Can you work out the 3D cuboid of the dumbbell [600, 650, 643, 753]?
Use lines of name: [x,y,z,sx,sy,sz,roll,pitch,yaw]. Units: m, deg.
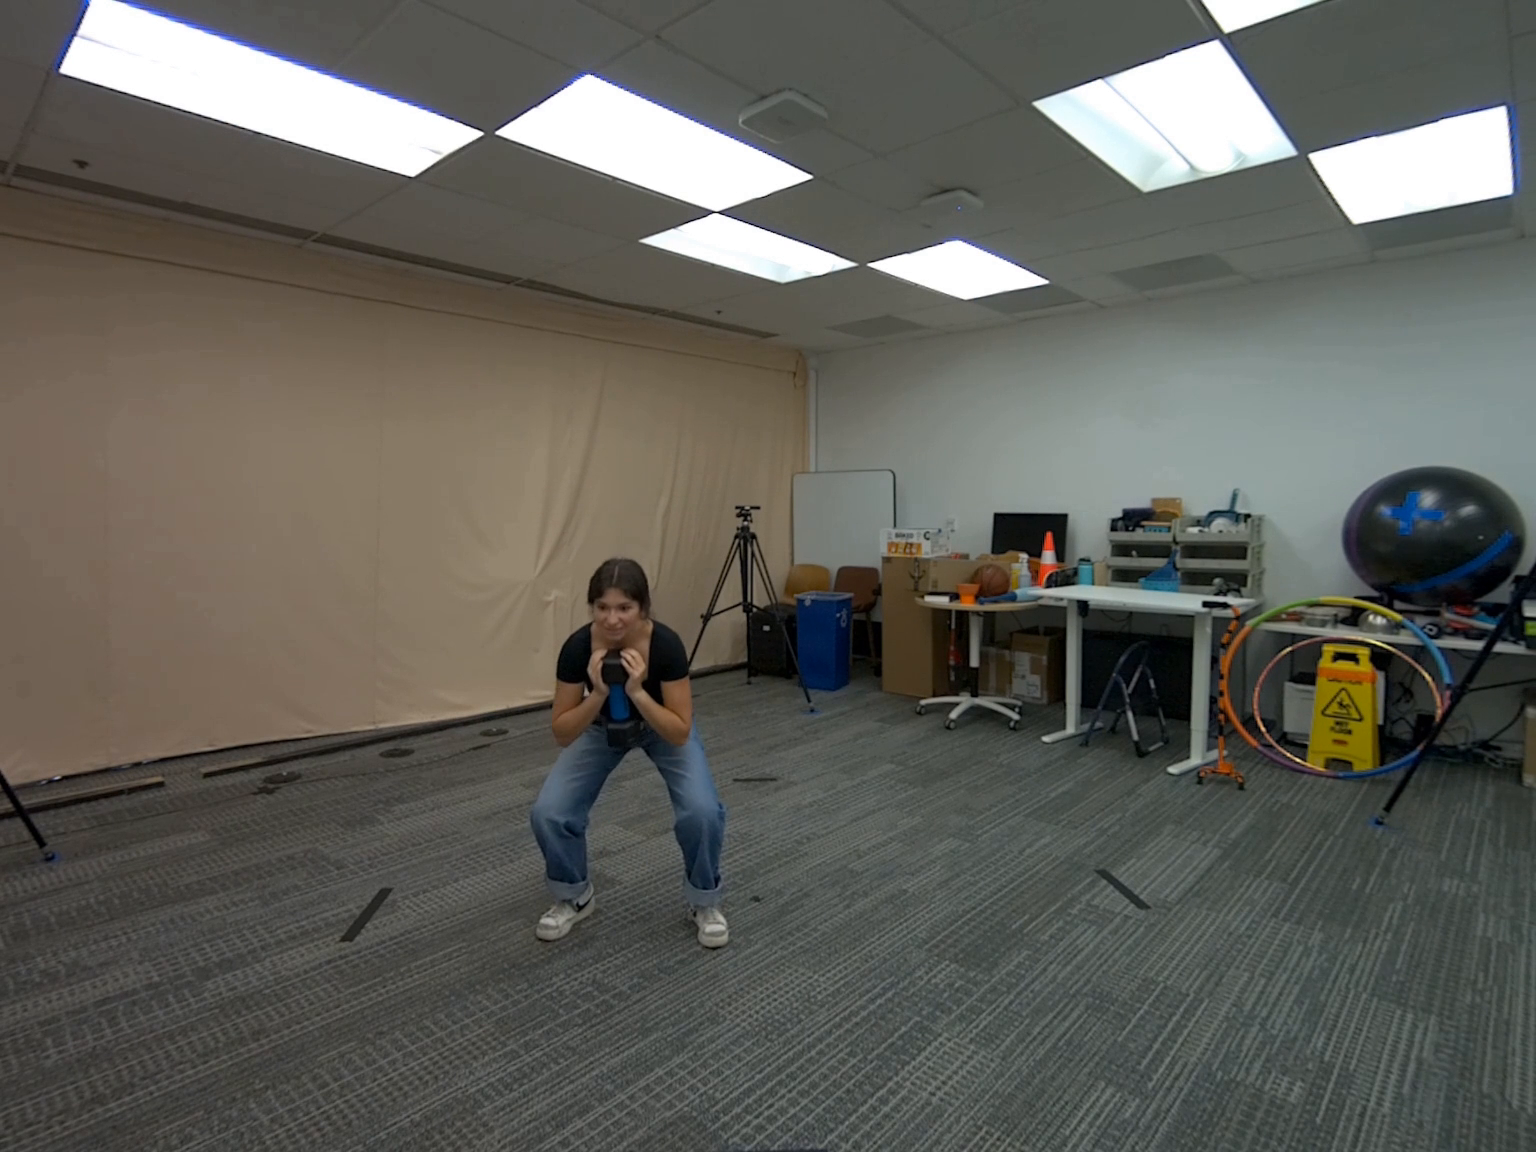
dumbbell: [-0.457,0.374,2.606,0.112,0.290,0.120,10,19,30]
